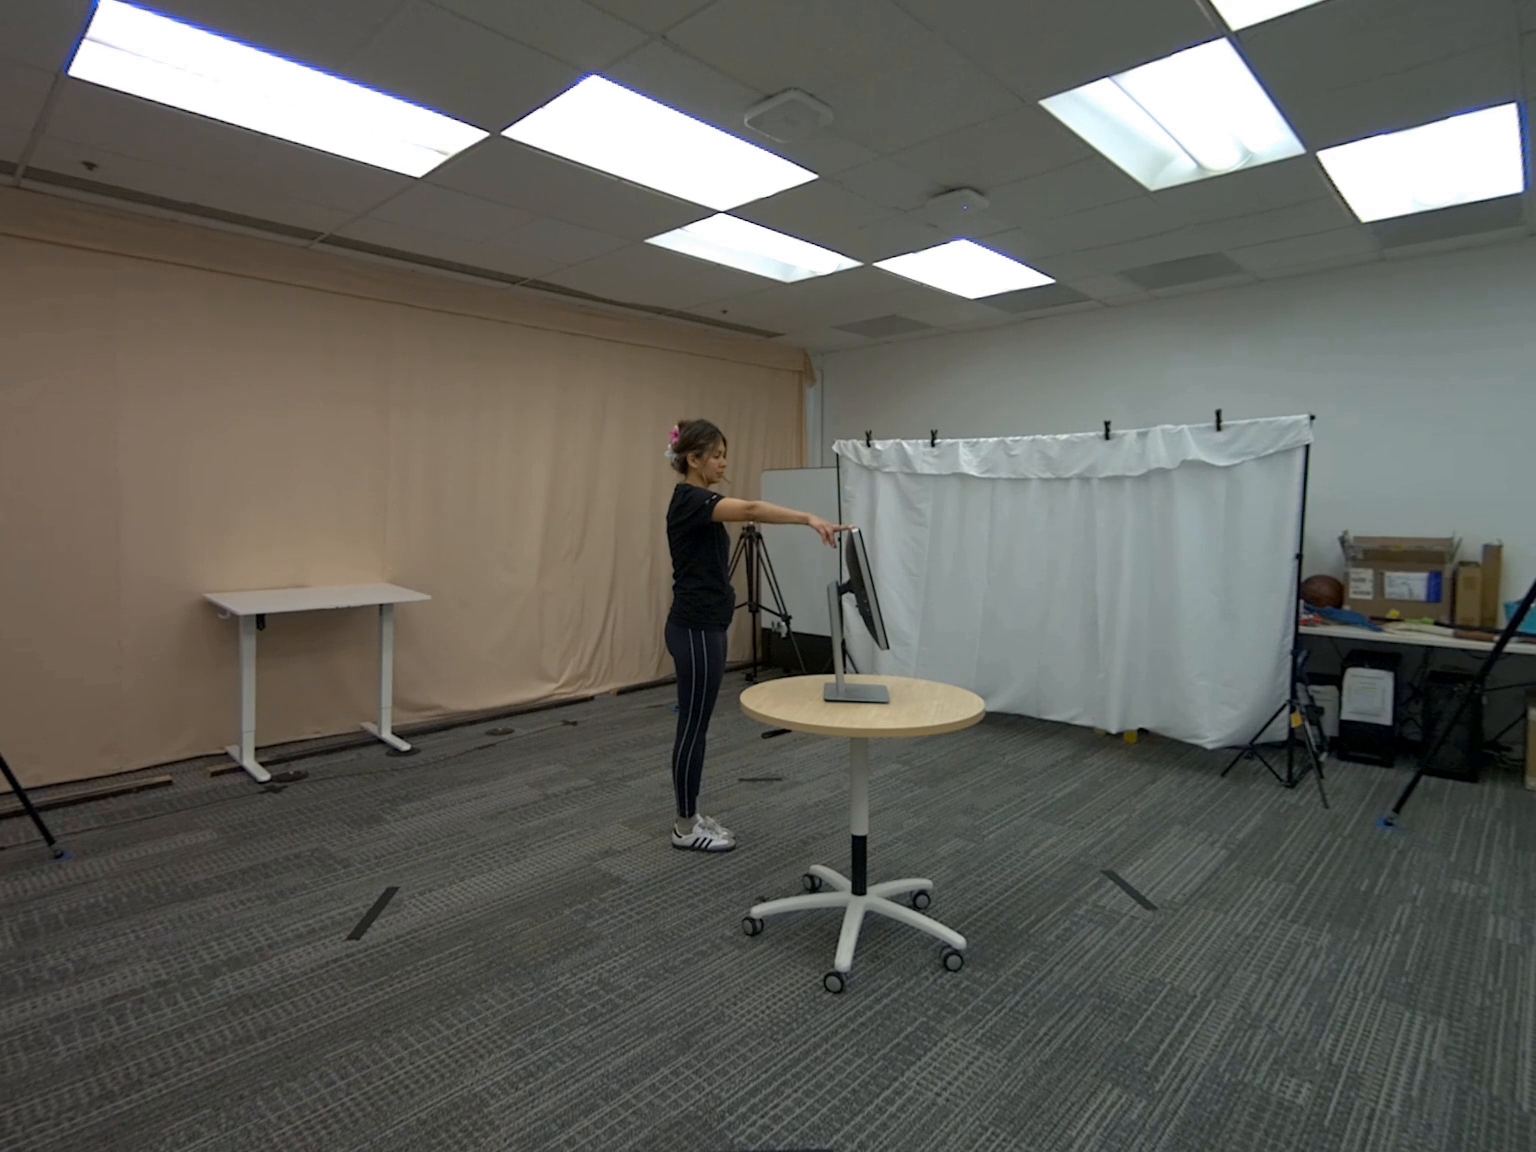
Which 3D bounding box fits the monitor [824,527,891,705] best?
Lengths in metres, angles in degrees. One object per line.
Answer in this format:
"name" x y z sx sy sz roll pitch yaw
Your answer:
"monitor" 0.282 0.123 2.725 0.188 0.522 0.537 0 3 3
